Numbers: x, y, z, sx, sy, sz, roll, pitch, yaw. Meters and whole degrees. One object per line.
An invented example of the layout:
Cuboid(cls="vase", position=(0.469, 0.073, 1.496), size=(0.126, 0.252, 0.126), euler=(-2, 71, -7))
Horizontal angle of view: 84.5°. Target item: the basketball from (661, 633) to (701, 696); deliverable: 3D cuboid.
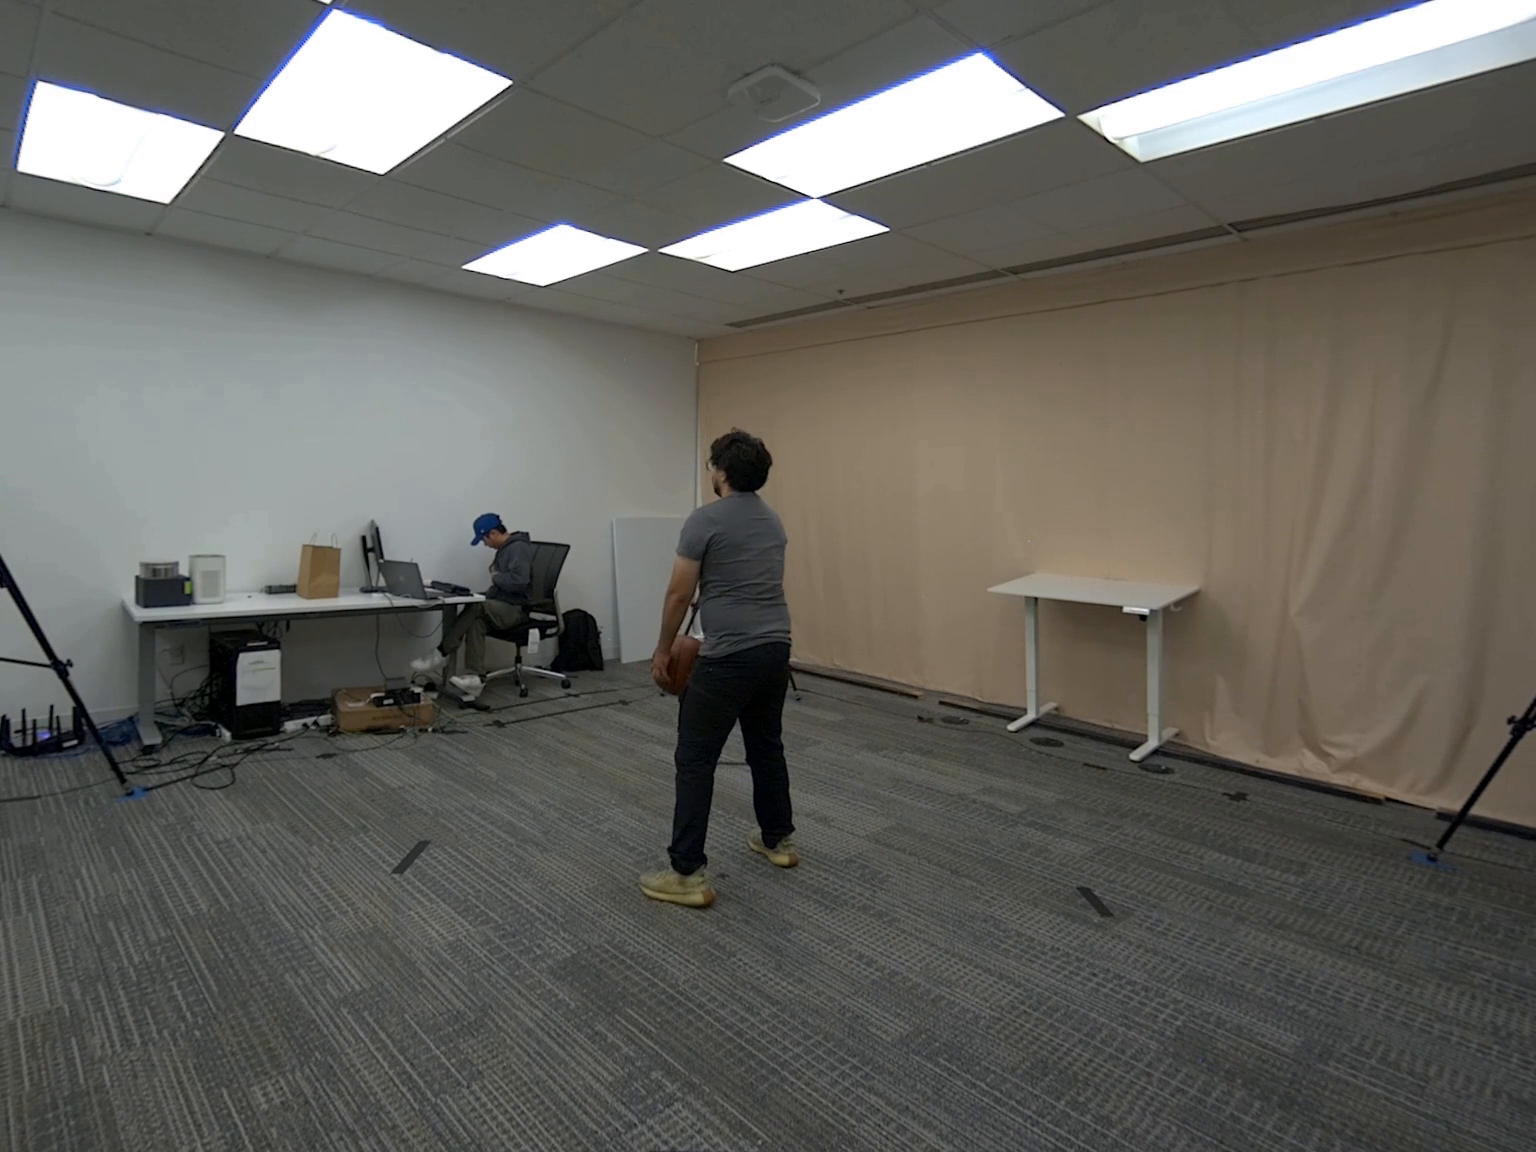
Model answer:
Cuboid(cls="basketball", position=(-0.342, 0.349, 3.292), size=(0.236, 0.235, 0.237), euler=(1, 4, -1))
